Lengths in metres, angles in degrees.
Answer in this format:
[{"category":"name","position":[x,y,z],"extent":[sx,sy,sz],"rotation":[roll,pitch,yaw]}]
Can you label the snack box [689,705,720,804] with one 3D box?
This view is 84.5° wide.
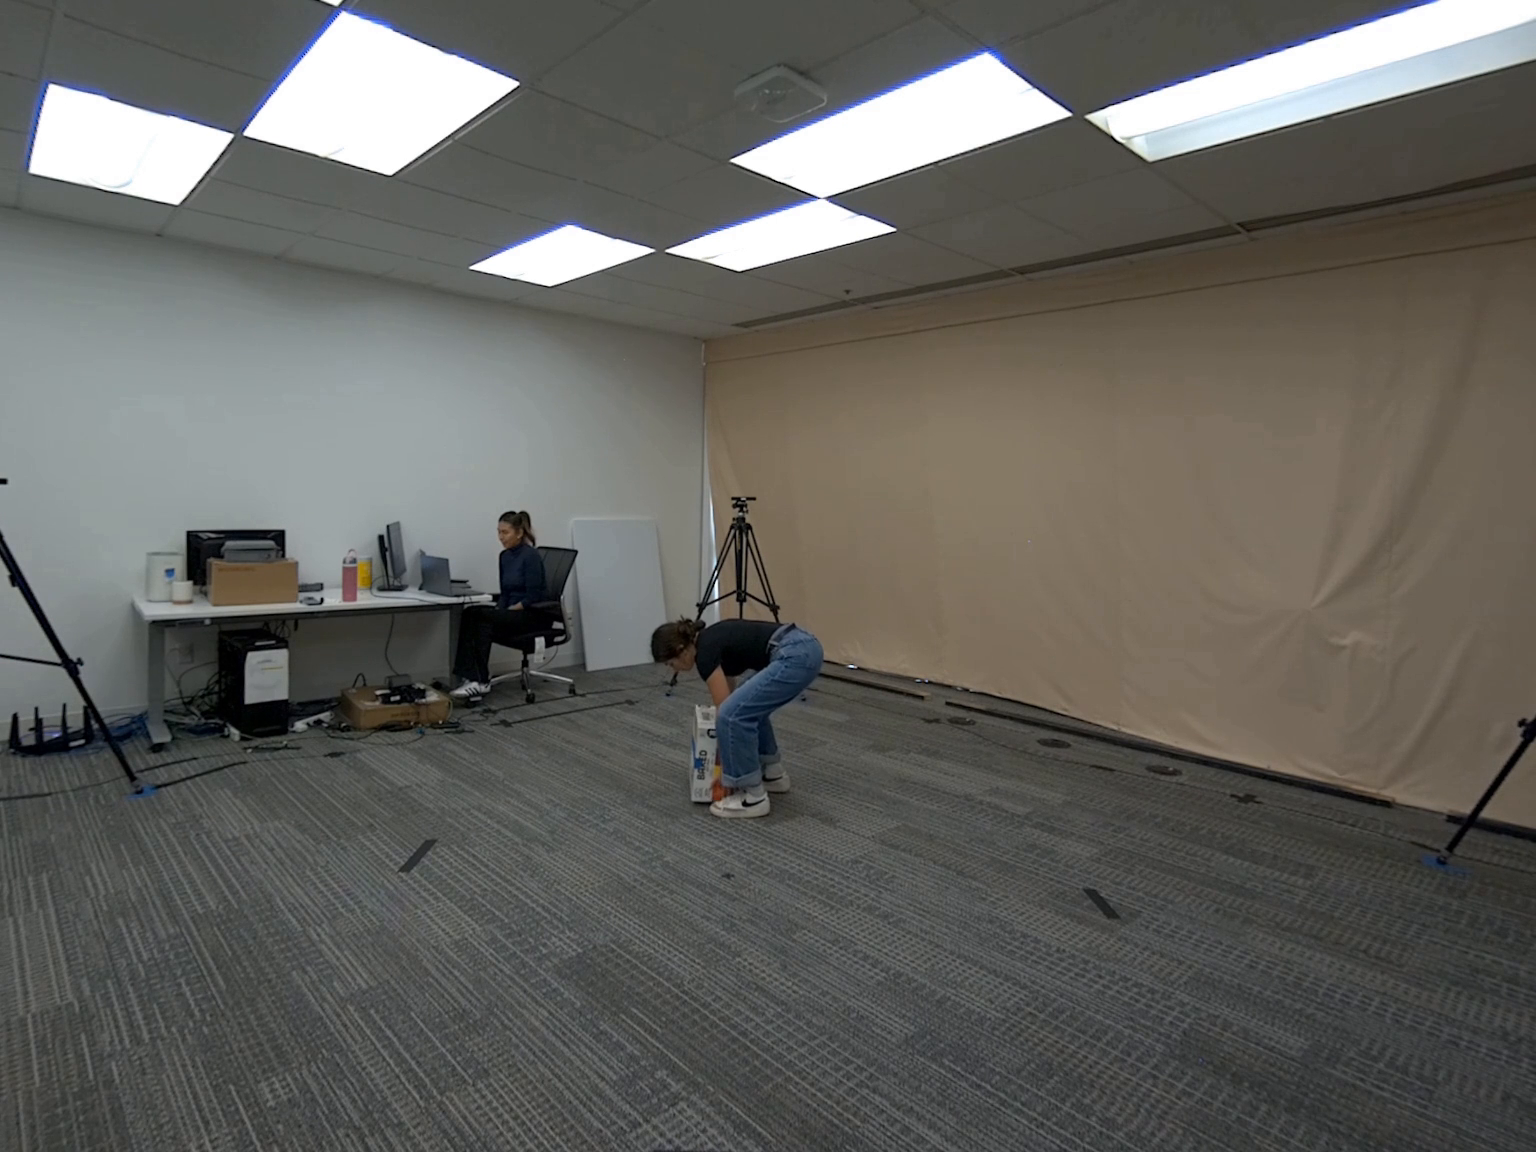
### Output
[{"category":"snack box","position":[-0.268,0.827,3.997],"extent":[0.205,0.339,0.408],"rotation":[6,5,-6]}]
